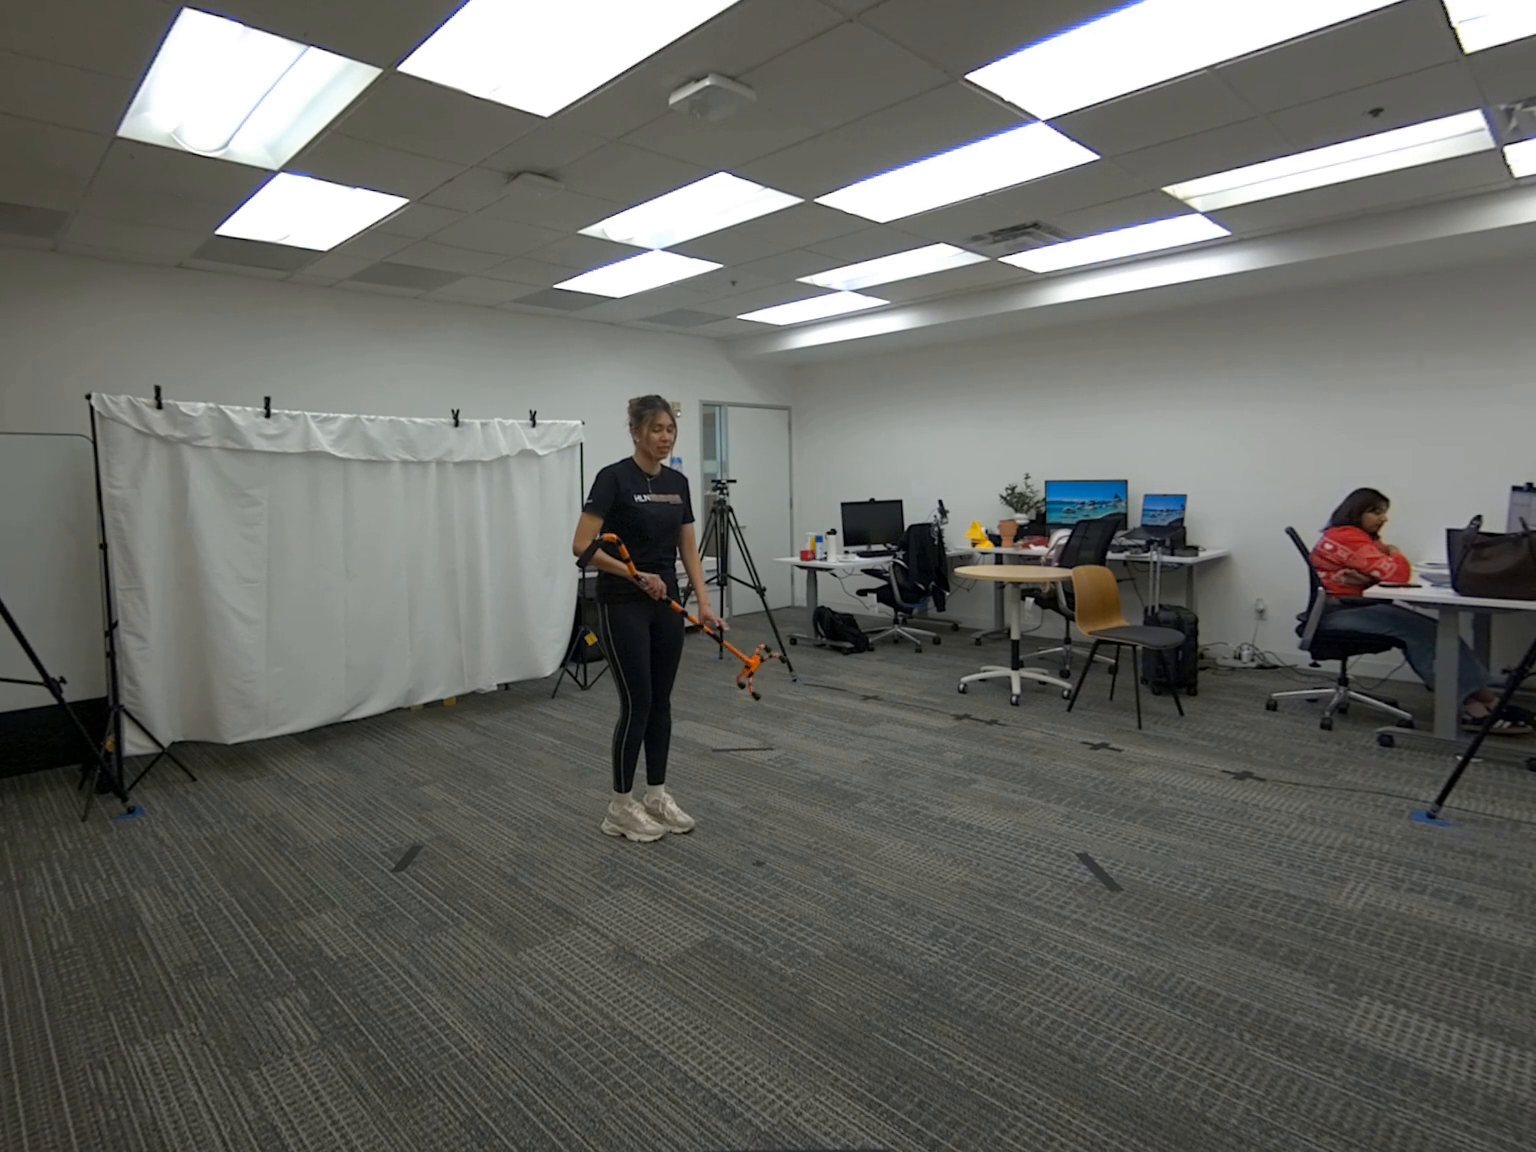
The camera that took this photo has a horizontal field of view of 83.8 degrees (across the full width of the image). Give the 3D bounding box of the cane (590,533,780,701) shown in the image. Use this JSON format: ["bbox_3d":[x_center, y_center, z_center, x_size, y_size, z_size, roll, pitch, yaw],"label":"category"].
[{"bbox_3d":[-0.301,0.153,3.137,0.876,0.206,0.157,41,-8,-32],"label":"cane"}]
